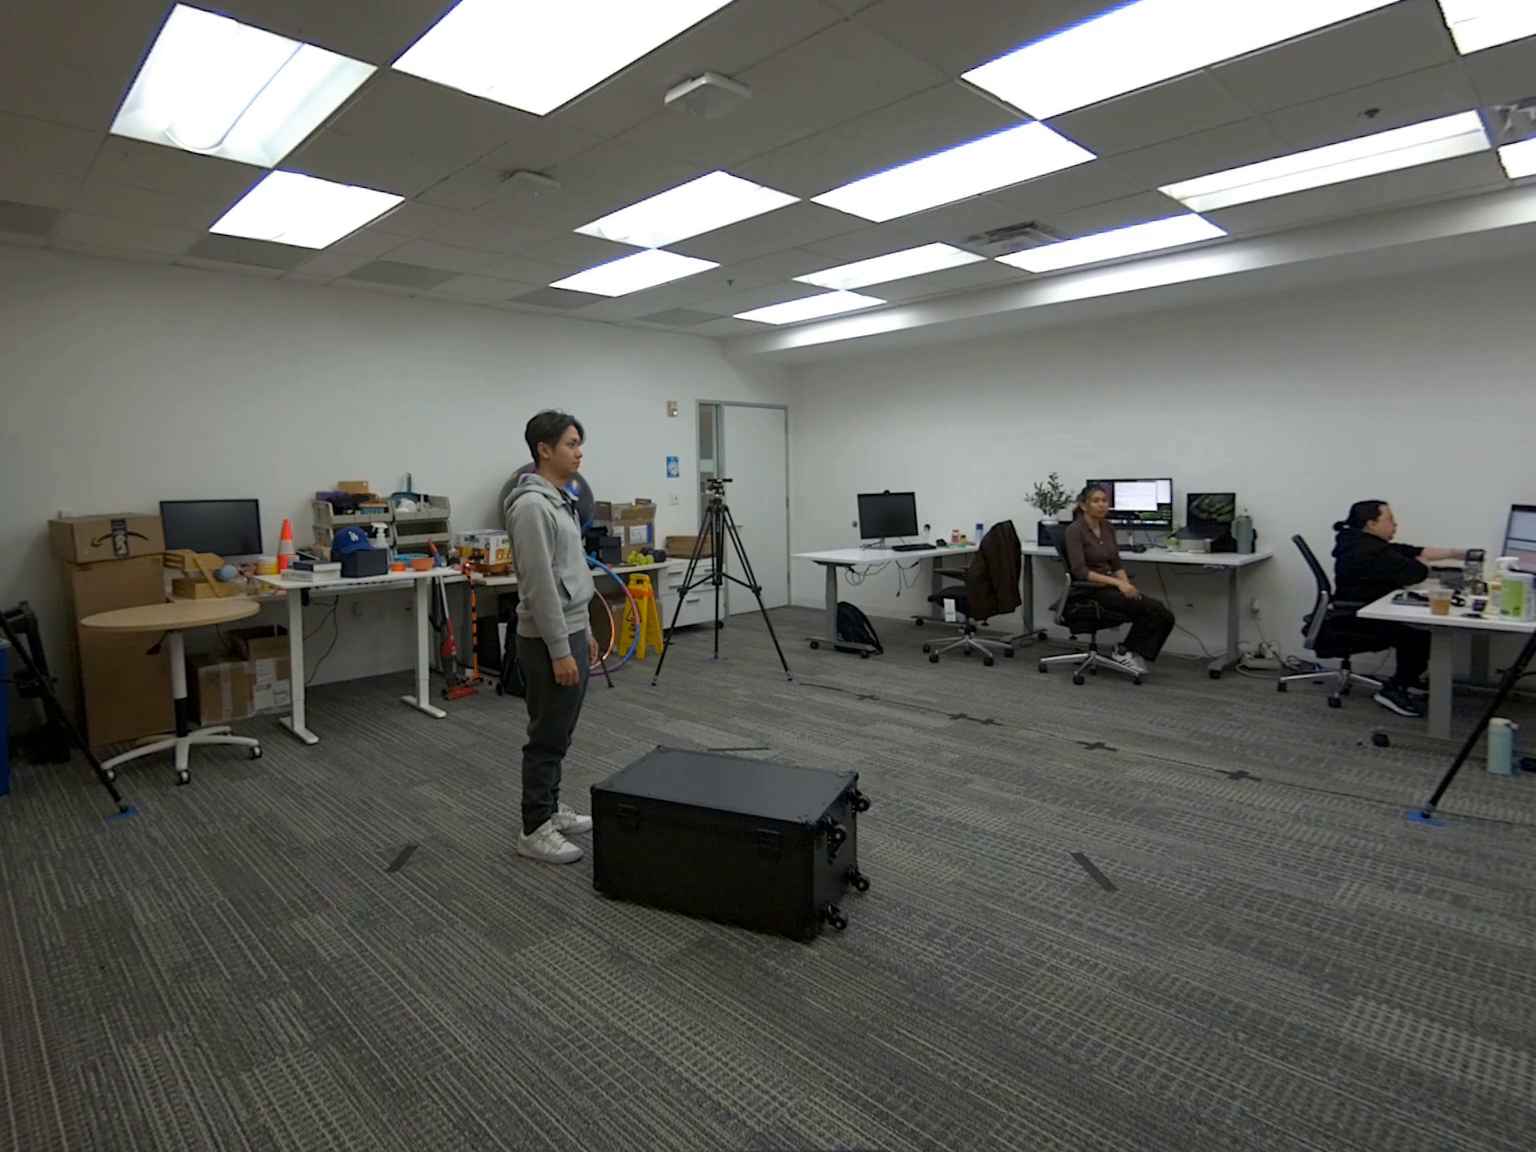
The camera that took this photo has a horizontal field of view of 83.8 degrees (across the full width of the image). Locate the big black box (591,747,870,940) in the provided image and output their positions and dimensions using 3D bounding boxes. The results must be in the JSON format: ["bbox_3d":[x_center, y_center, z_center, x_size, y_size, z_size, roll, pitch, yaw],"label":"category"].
[{"bbox_3d":[-0.164,0.876,2.928,0.881,0.395,0.512,2,6,23],"label":"big black box"}]
